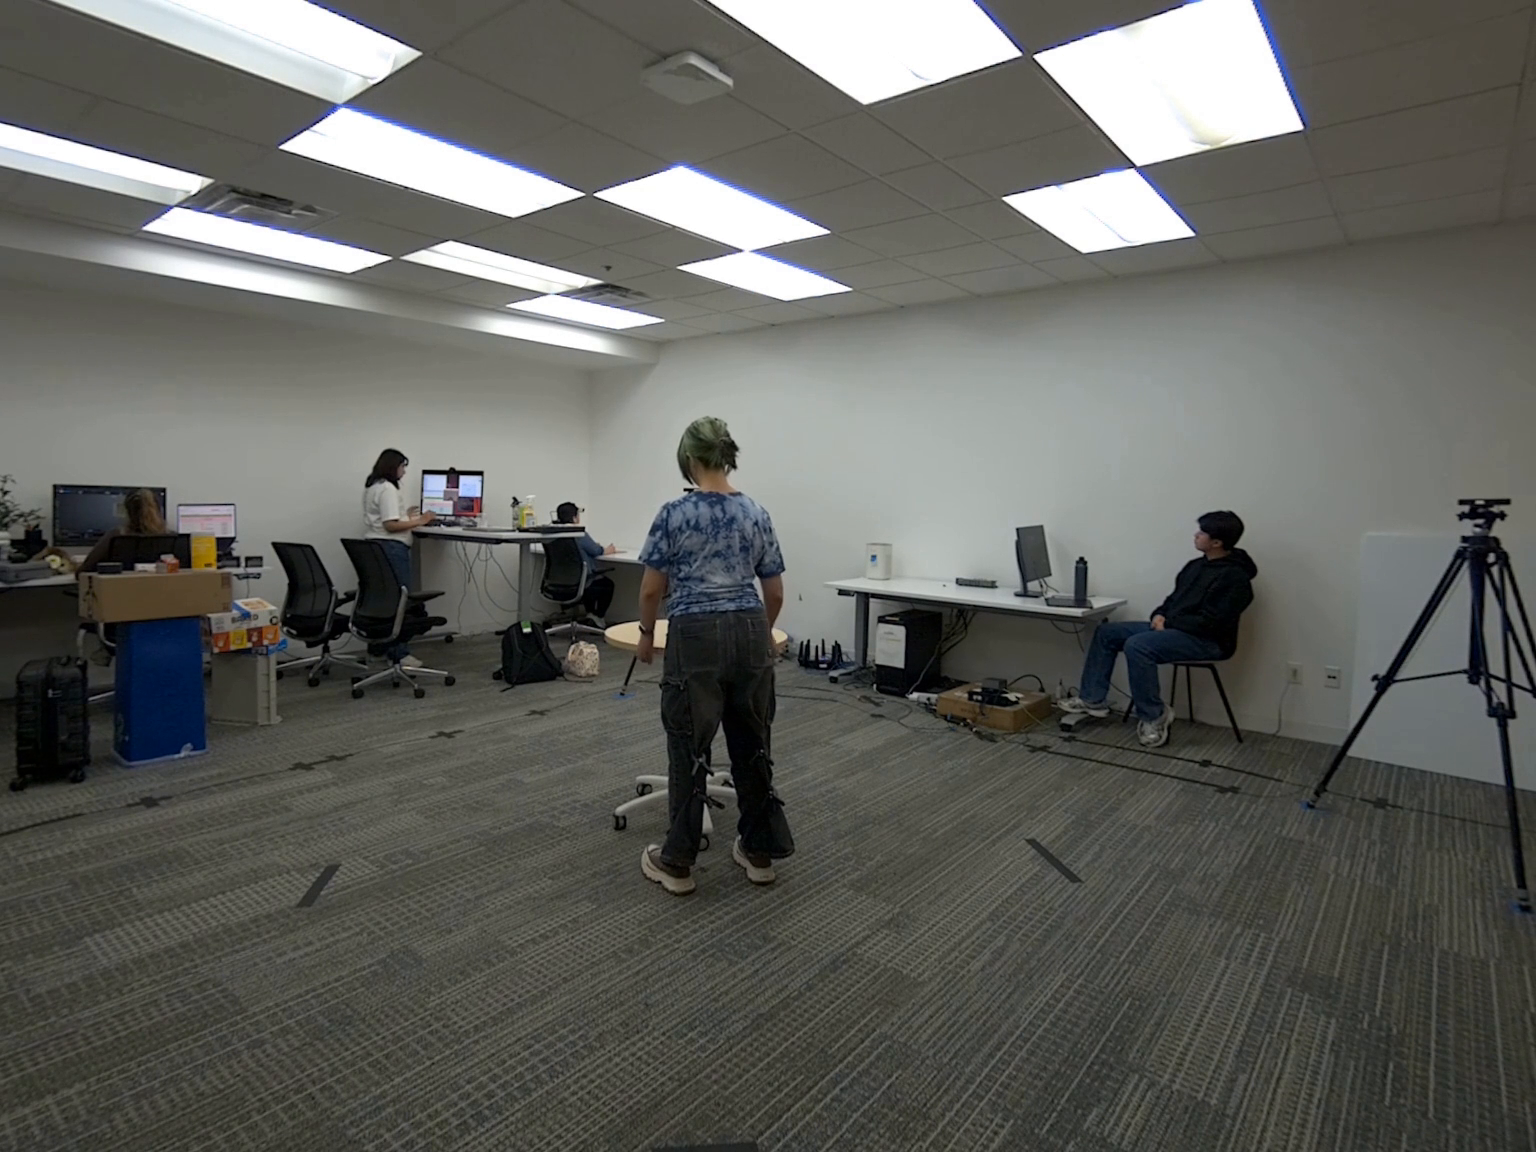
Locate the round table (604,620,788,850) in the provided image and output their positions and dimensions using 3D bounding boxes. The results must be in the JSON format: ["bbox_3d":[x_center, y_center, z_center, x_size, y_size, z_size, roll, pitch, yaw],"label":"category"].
[{"bbox_3d":[-0.329,0.630,3.598,0.763,0.791,0.768,1,4,-2],"label":"round table"}]
